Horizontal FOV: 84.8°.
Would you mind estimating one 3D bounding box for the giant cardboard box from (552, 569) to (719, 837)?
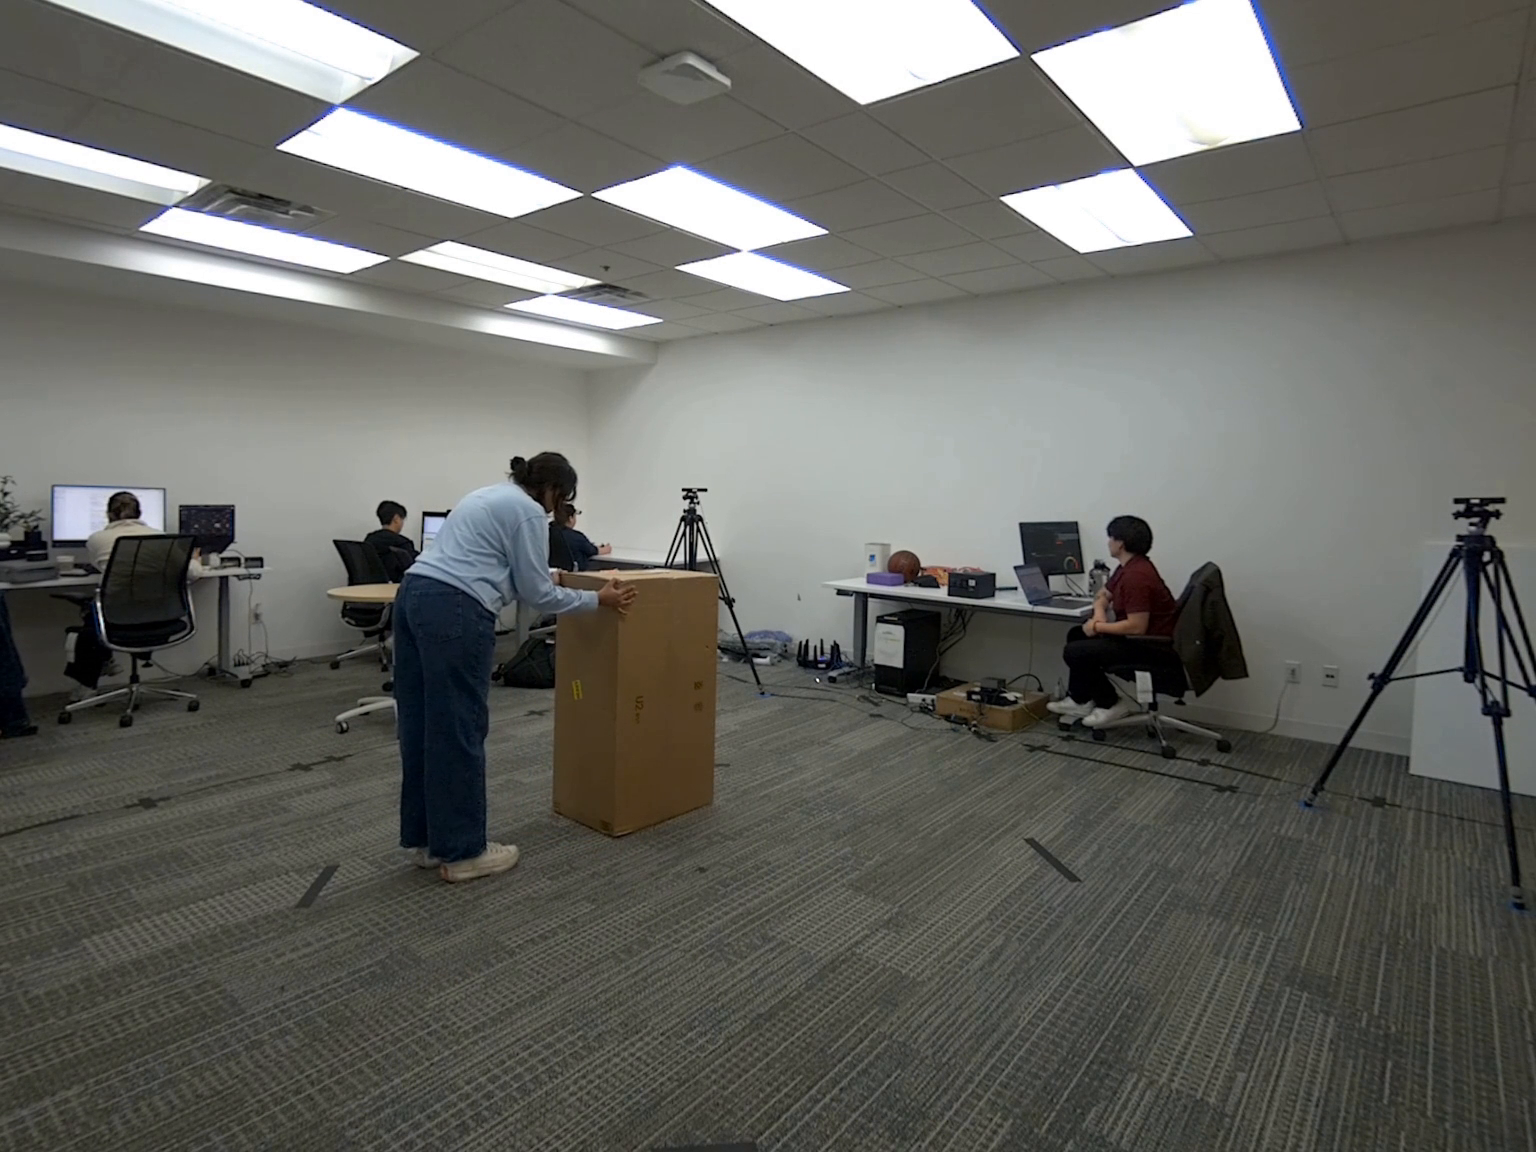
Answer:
[{"bbox_3d":[-0.583,0.500,3.703,0.440,1.024,0.560,3,3,41],"label":"giant cardboard box"}]
